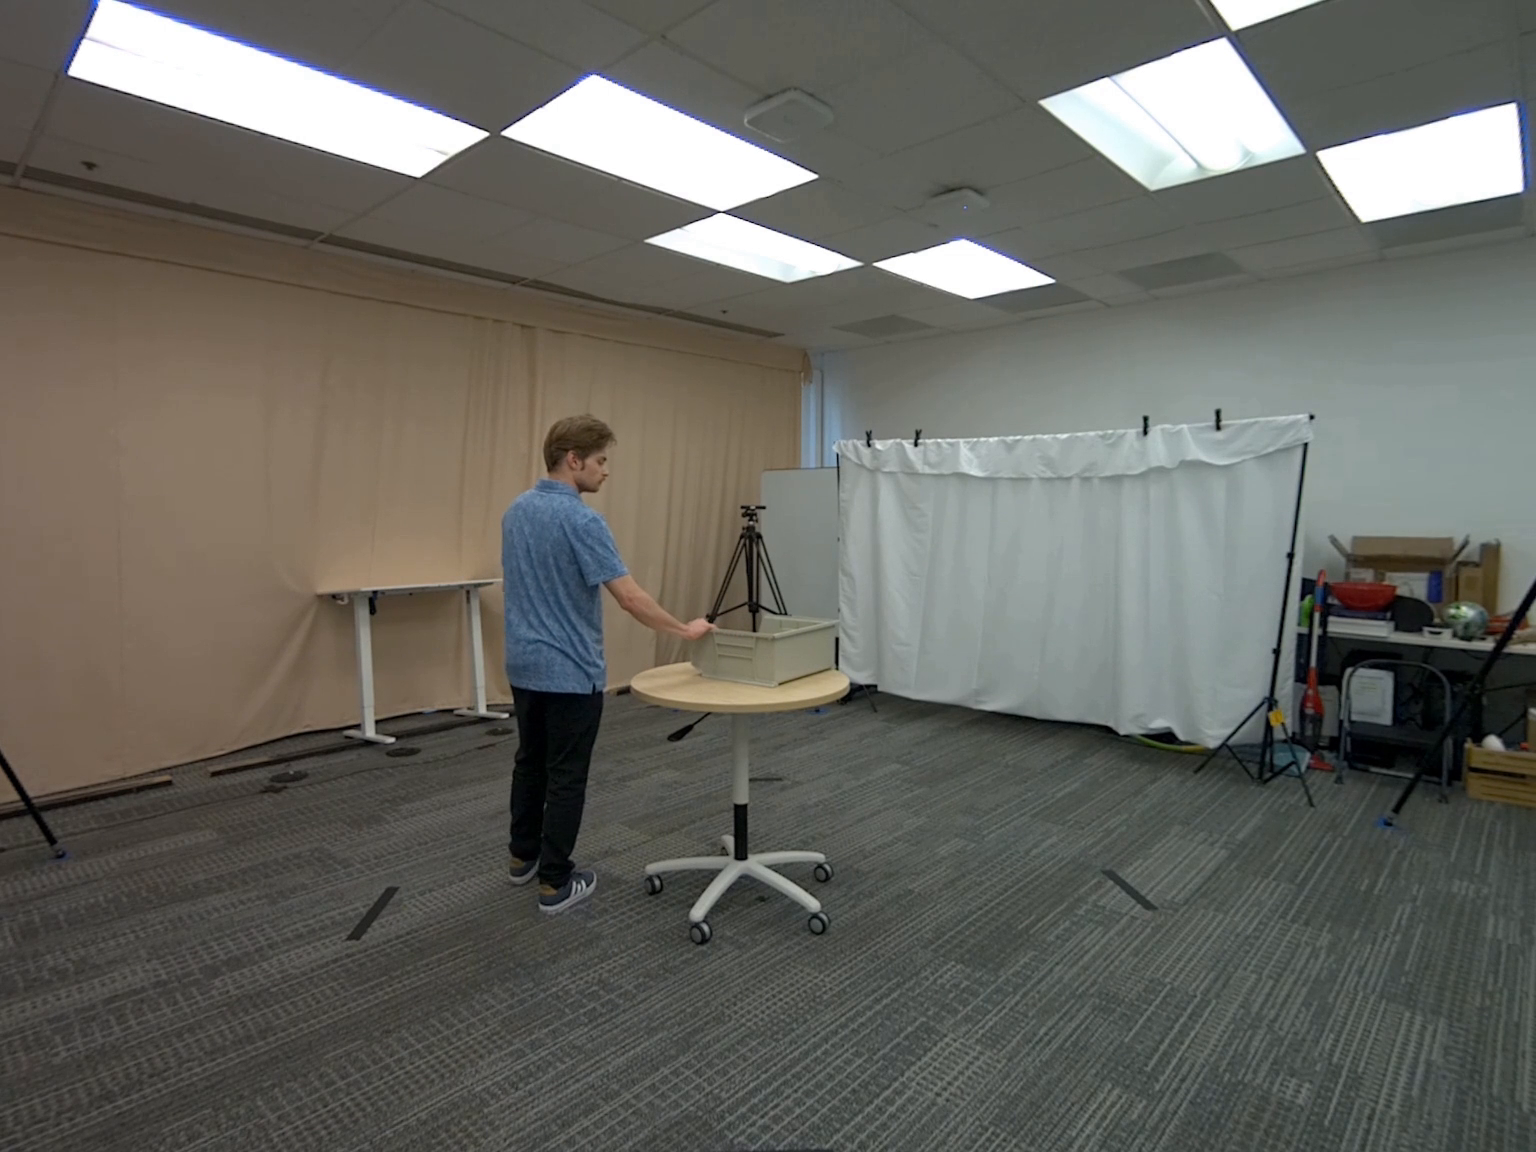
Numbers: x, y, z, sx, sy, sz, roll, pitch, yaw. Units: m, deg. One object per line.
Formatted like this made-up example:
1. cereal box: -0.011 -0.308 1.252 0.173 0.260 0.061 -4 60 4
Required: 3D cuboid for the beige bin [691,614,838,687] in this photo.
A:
1. beige bin: -0.009 0.259 3.065 0.390 0.188 0.410 5 7 37
